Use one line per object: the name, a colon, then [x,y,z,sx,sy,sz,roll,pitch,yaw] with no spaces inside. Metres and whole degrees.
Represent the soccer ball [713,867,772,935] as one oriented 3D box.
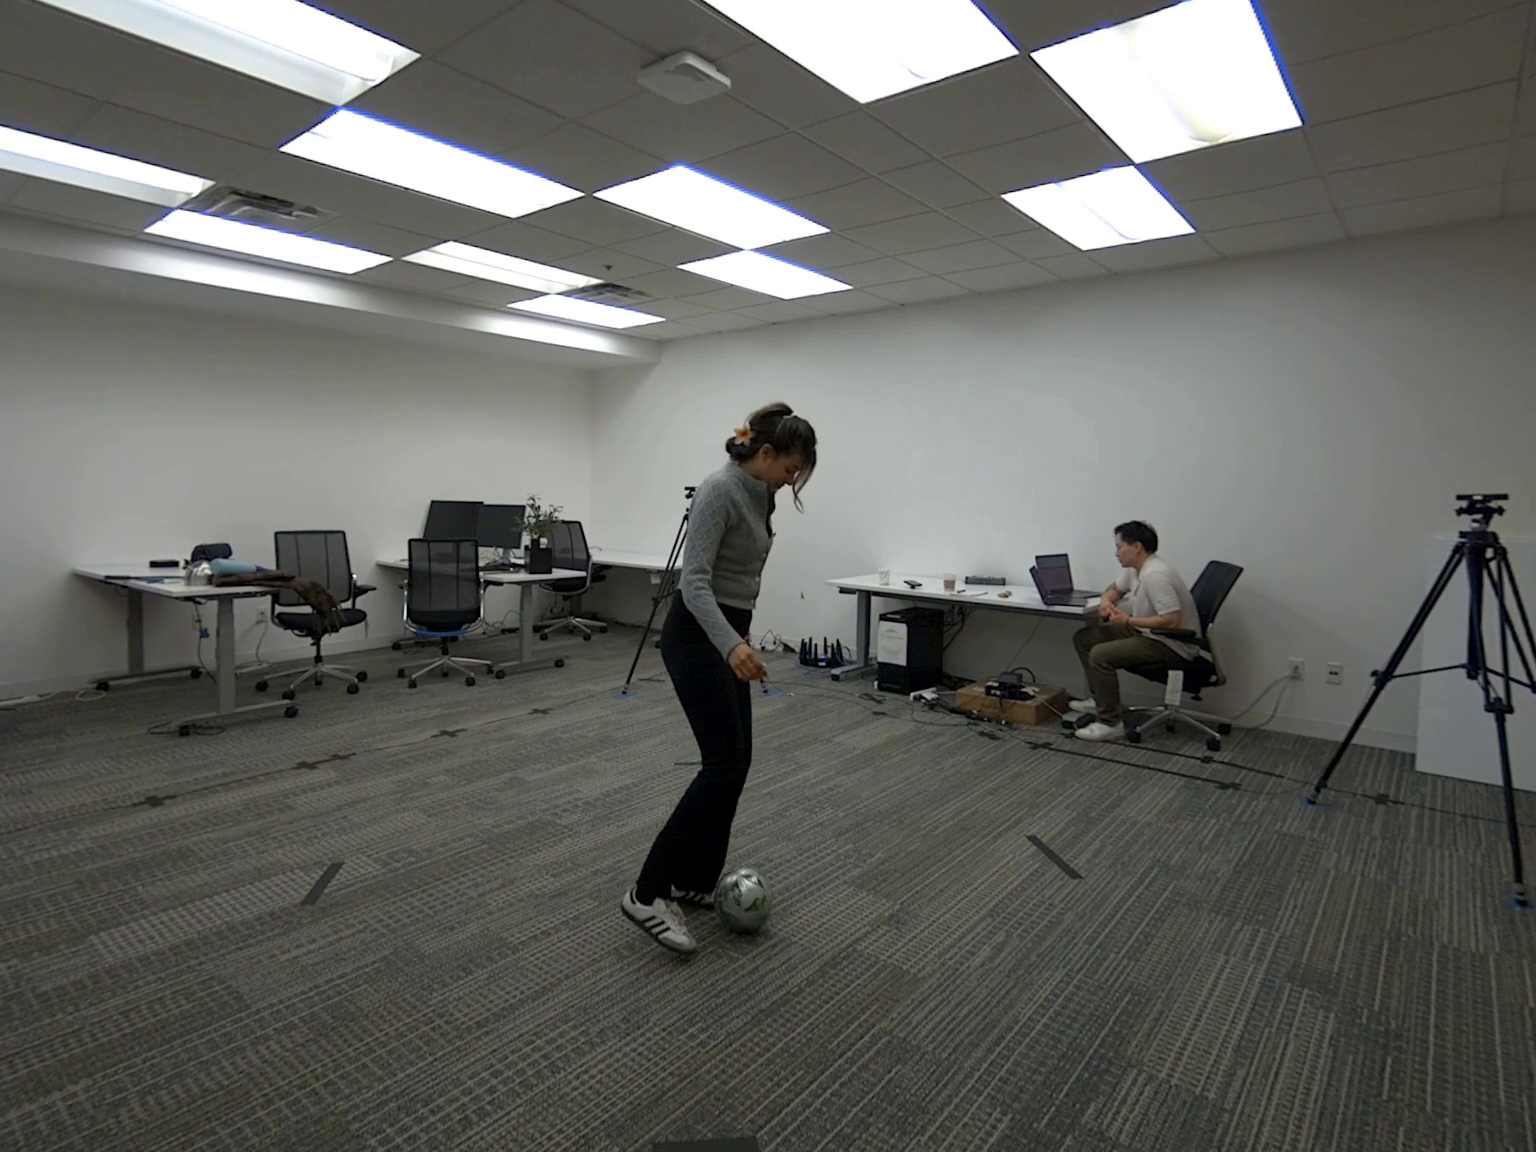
soccer ball: [-0.088,1.018,2.678,0.187,0.187,0.188,1,4,-2]
